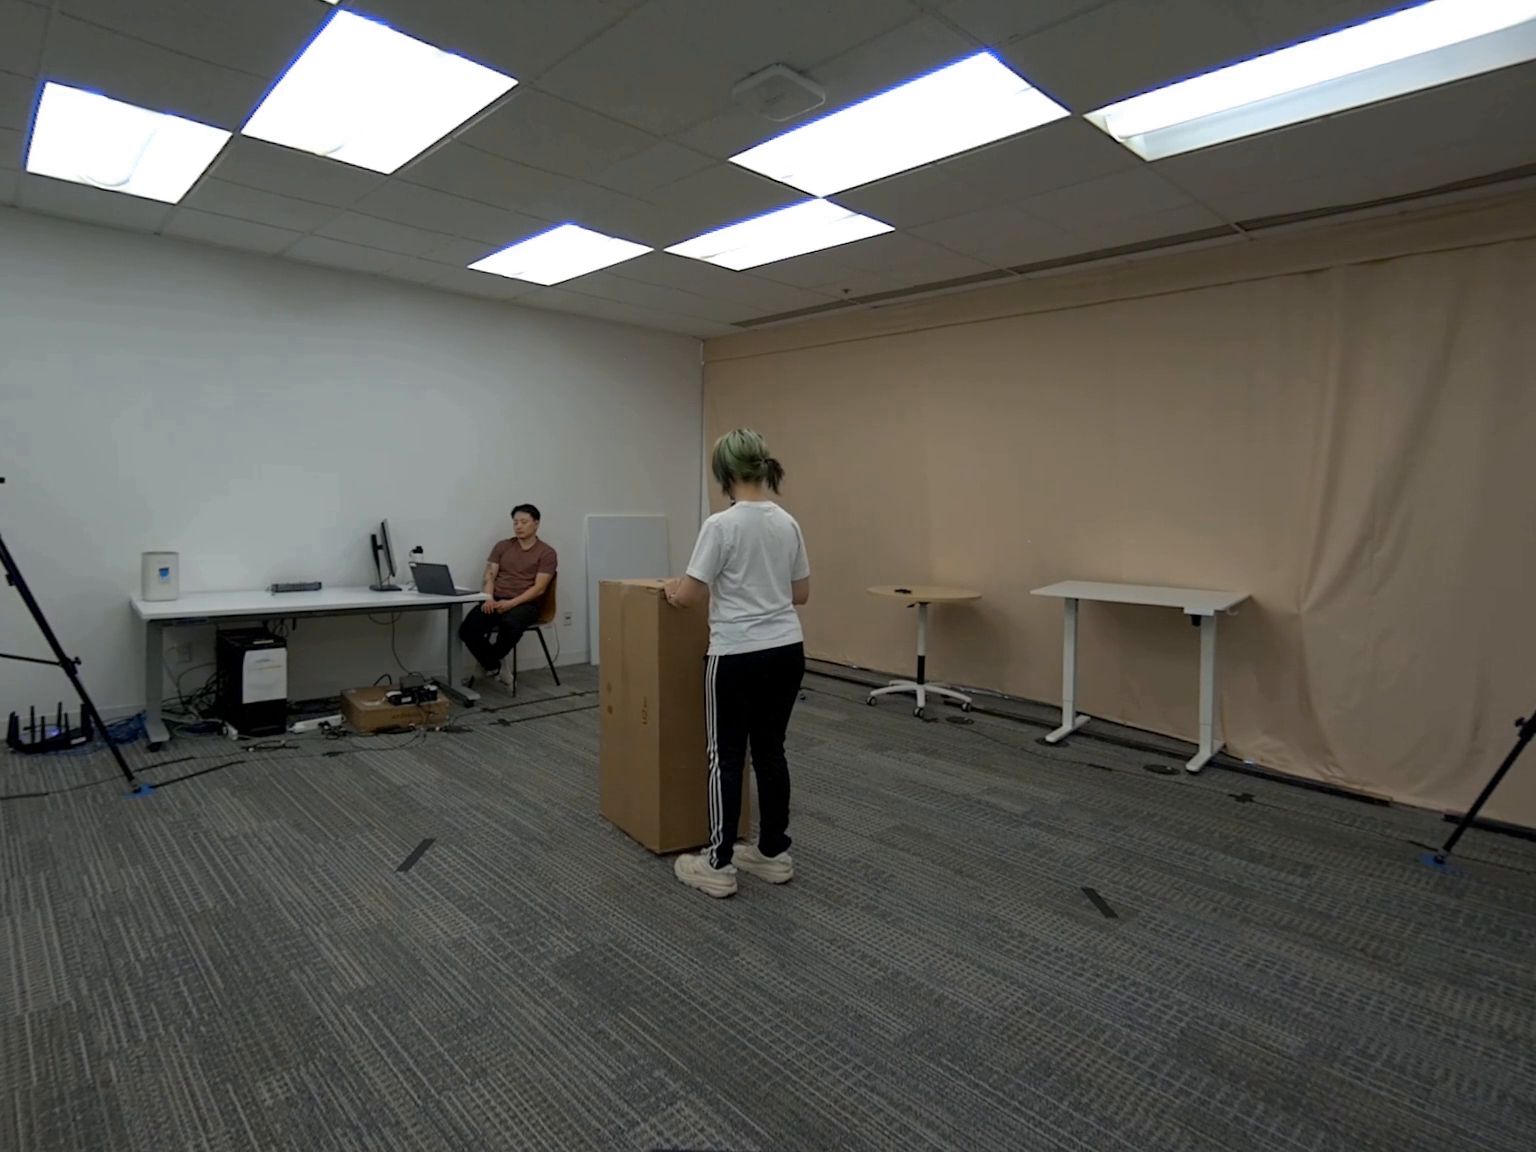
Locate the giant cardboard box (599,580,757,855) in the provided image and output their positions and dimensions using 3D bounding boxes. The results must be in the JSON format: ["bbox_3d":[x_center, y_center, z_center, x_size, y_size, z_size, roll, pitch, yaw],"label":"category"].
[{"bbox_3d":[-0.413,0.542,3.561,0.437,1.026,0.597,-1,1,-34],"label":"giant cardboard box"}]
